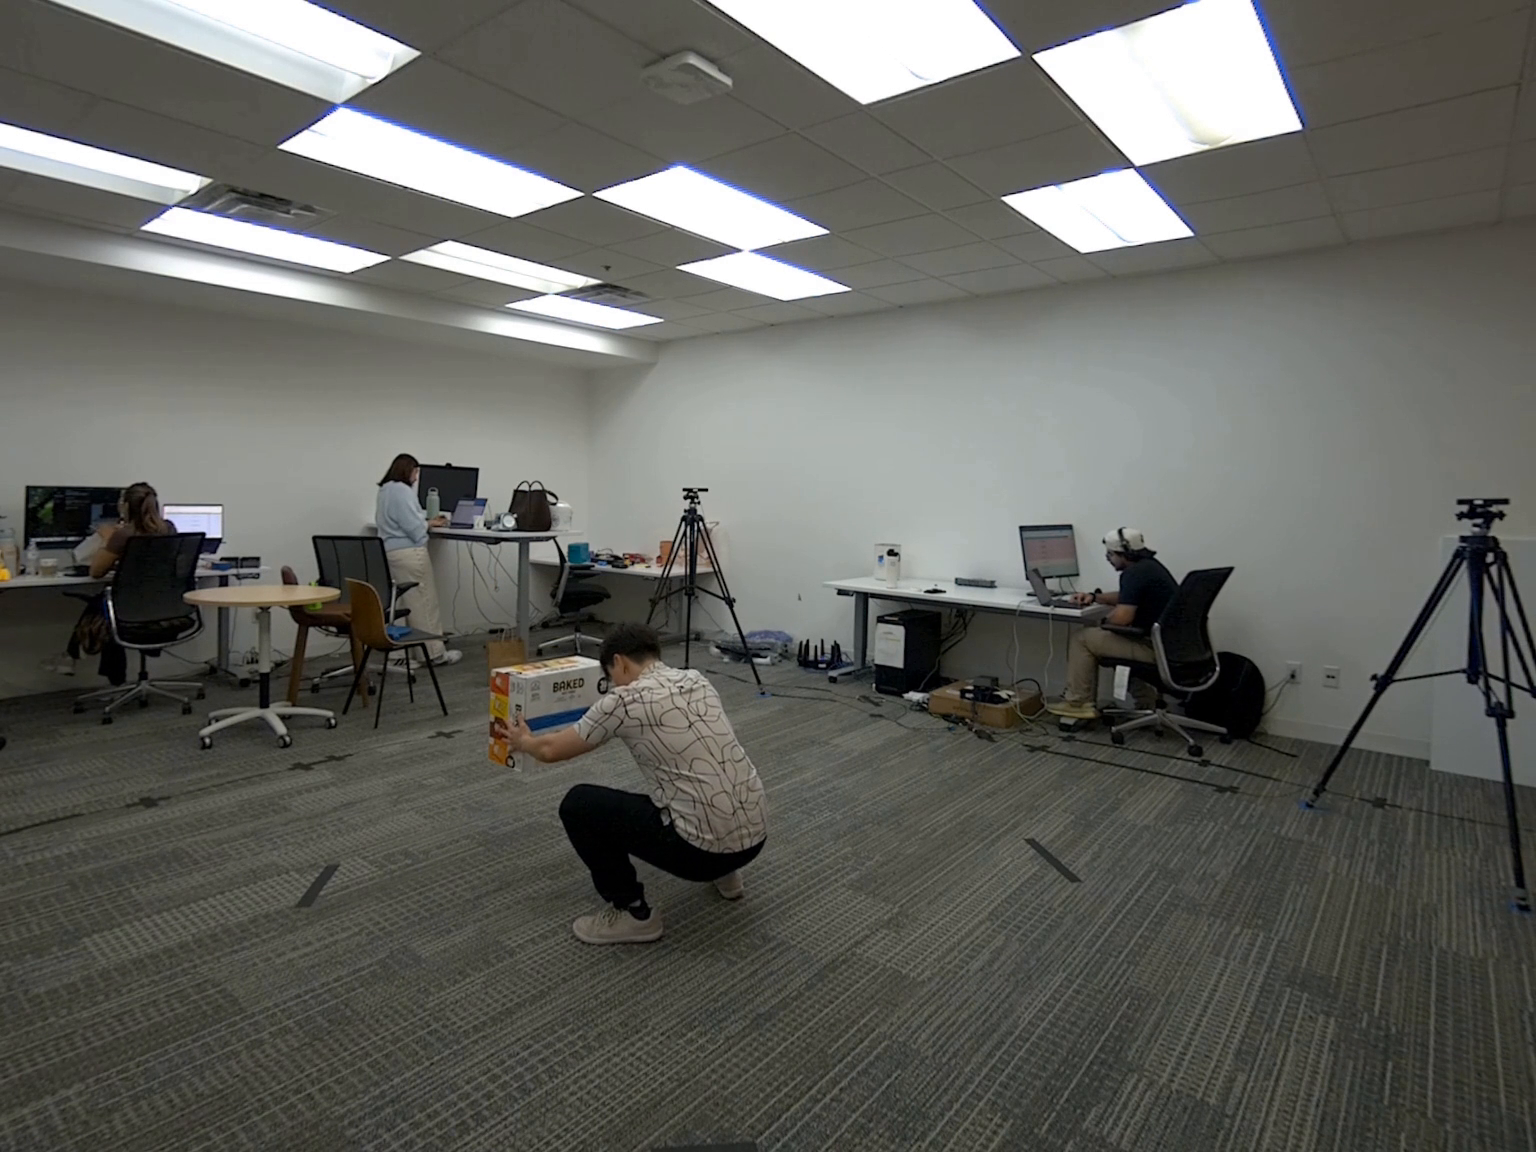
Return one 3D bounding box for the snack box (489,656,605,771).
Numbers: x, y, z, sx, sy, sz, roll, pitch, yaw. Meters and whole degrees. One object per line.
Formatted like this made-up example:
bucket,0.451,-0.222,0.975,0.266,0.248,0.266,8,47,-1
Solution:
snack box,-0.840,0.502,3.225,0.213,0.339,0.393,6,5,38
